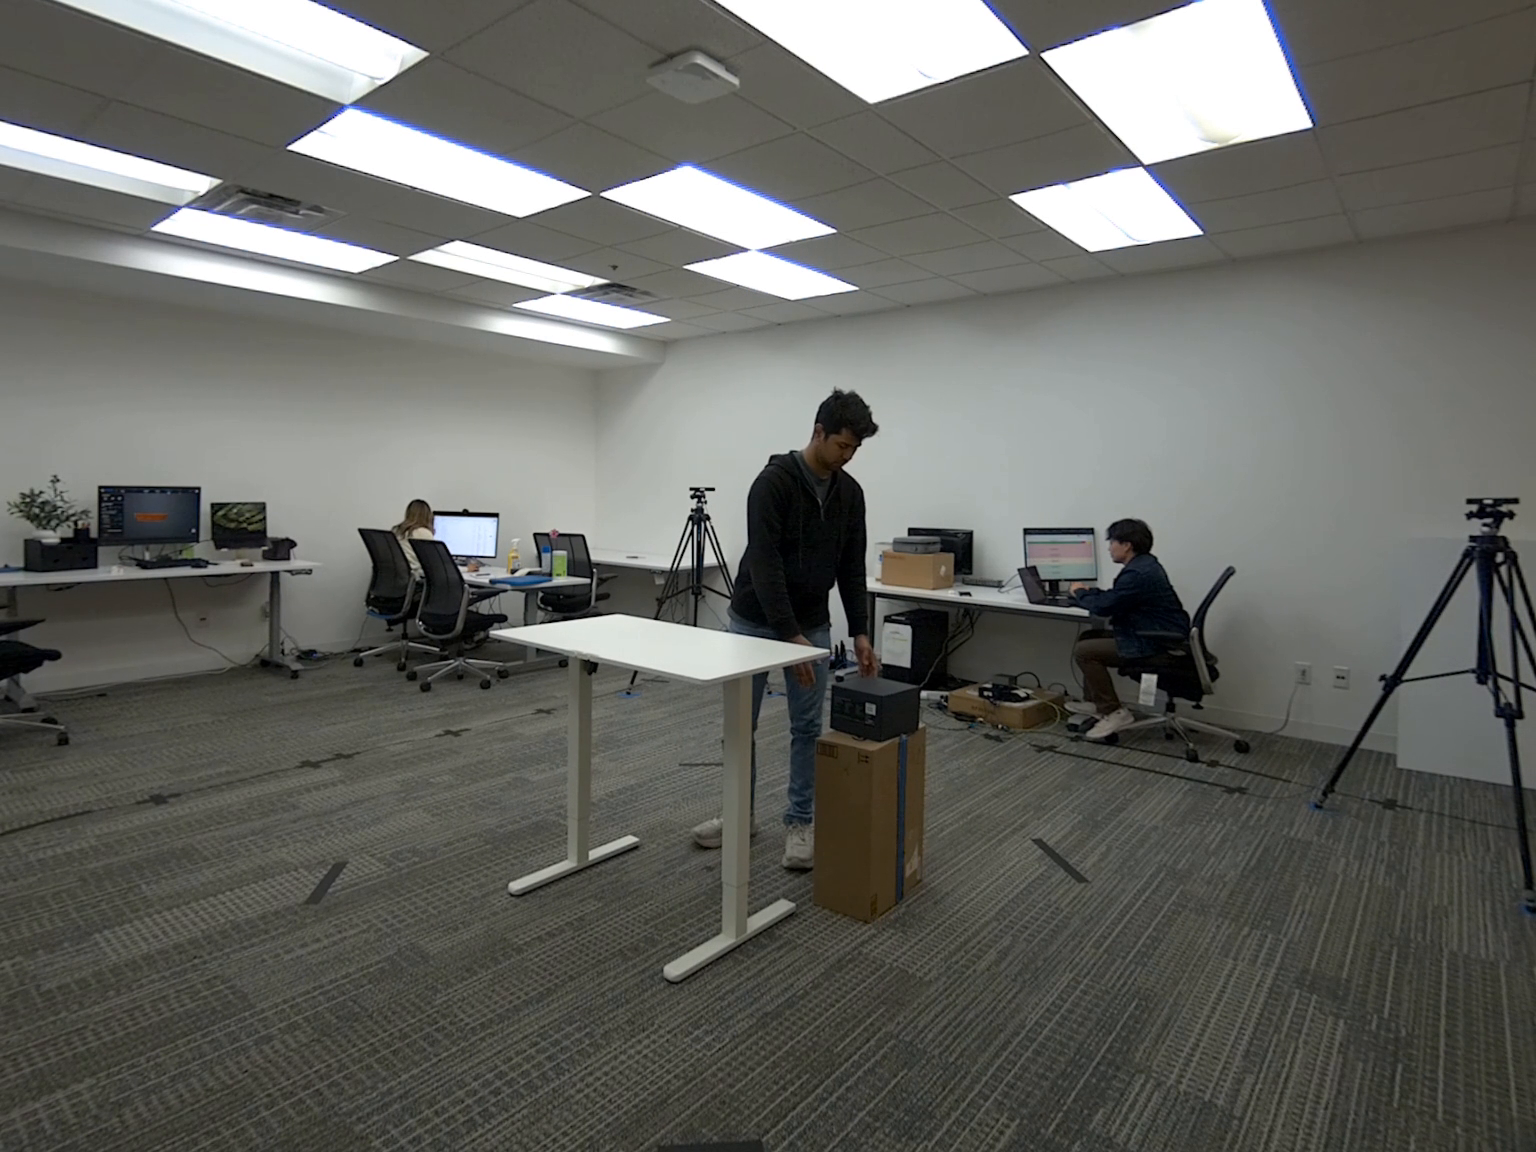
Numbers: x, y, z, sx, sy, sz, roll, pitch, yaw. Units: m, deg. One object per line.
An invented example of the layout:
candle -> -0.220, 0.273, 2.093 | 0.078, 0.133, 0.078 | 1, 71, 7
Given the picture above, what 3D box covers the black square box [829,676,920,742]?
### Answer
black square box -> 0.365, 0.454, 2.934 | 0.224, 0.155, 0.221 | 5, 6, 43
